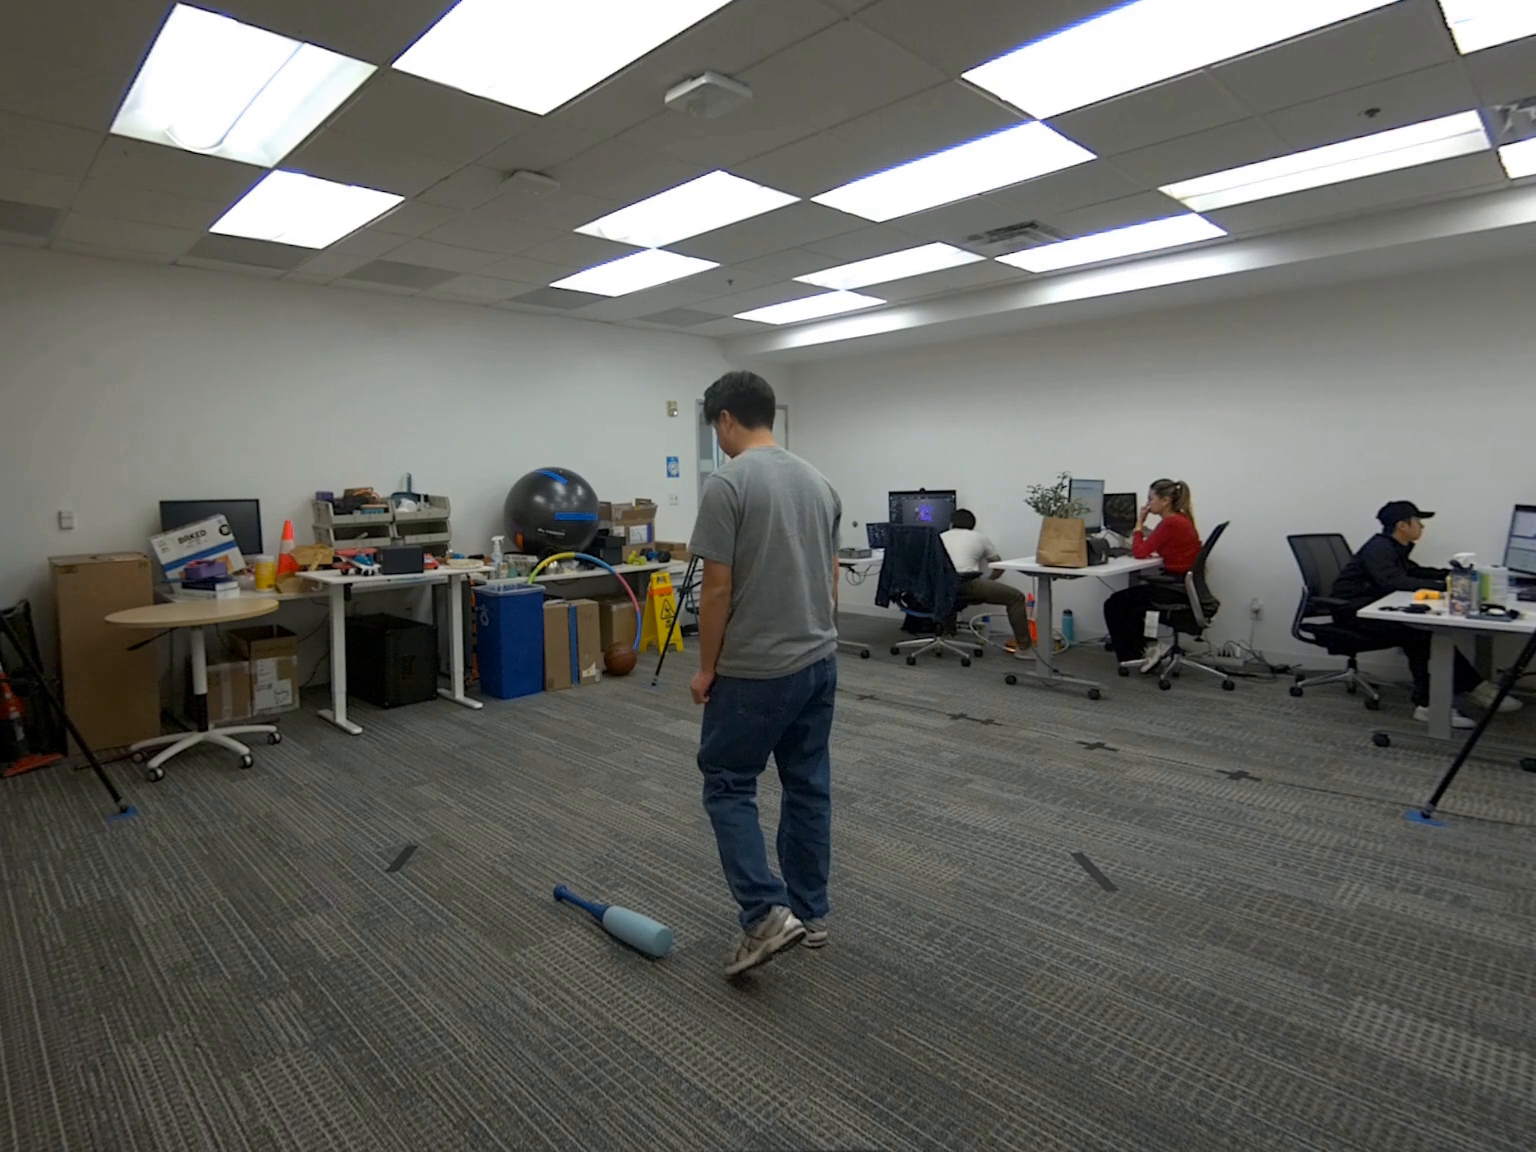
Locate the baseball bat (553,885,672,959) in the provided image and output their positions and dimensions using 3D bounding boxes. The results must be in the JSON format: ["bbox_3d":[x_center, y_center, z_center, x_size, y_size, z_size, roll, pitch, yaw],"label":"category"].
[{"bbox_3d":[-0.503,1.073,2.678,0.558,0.089,0.087,0,4,44],"label":"baseball bat"}]
